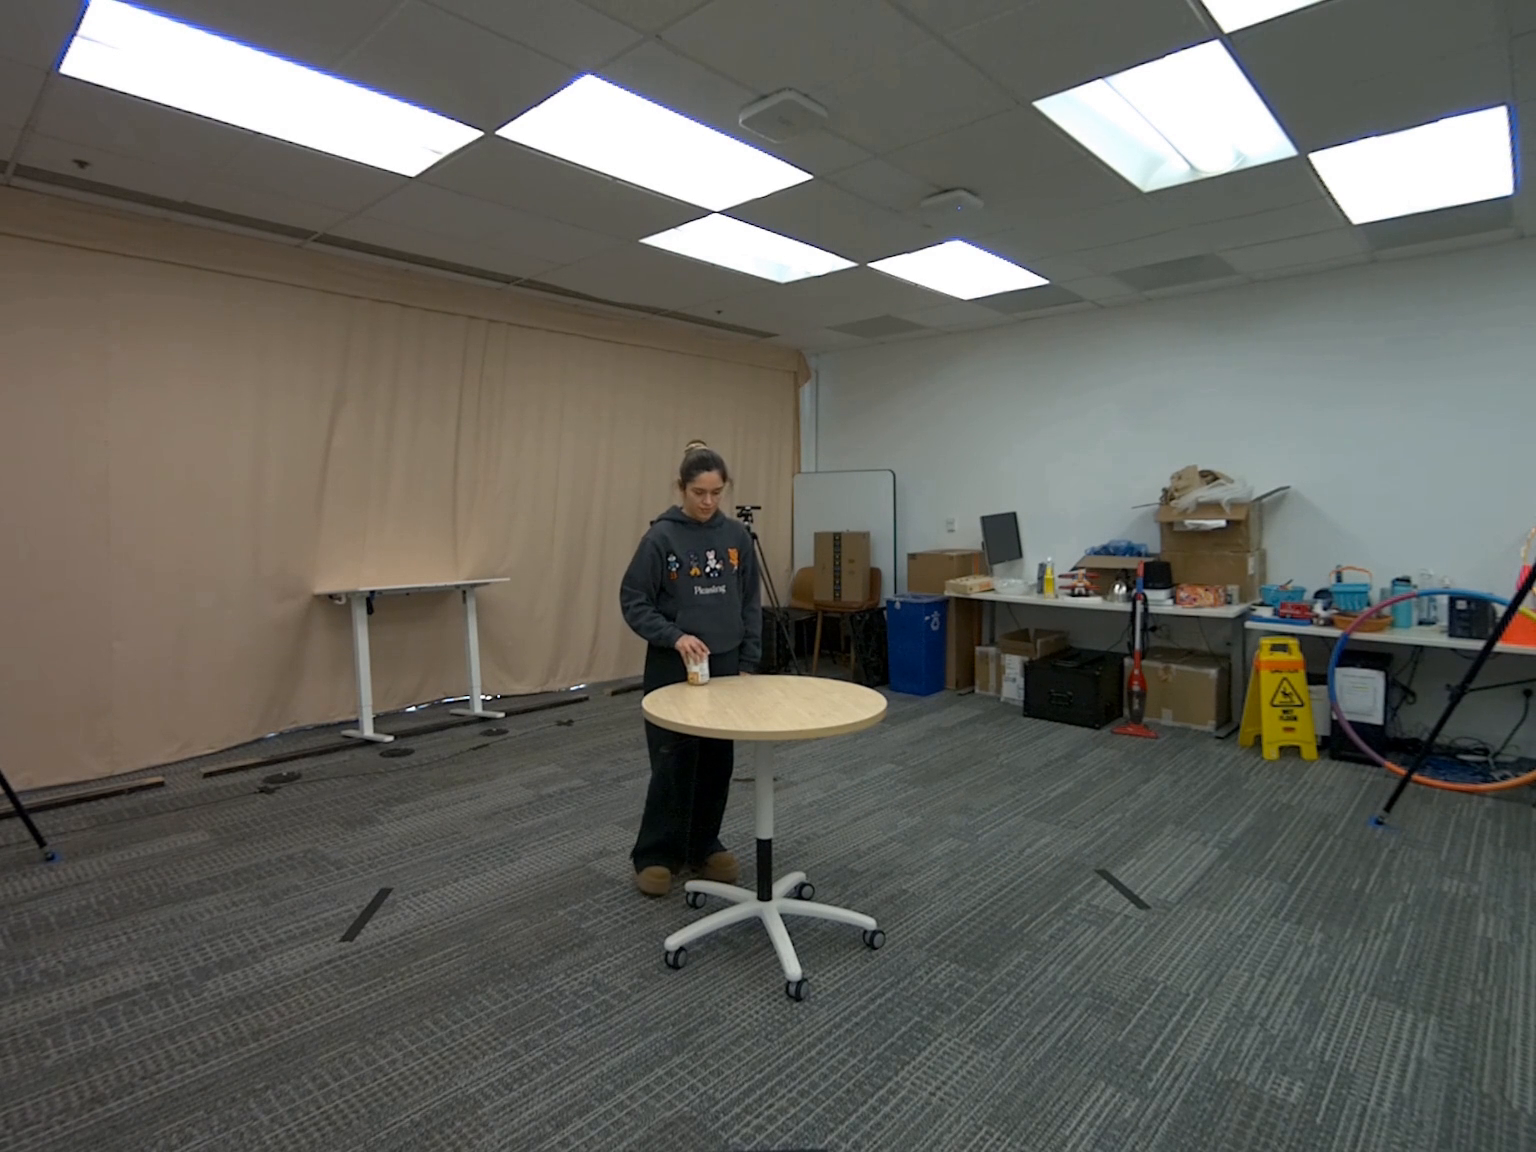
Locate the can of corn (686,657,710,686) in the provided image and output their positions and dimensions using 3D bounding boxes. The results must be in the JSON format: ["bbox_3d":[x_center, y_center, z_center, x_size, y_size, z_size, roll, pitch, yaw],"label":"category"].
[{"bbox_3d":[-0.229,0.303,2.884,0.074,0.110,0.074,-4,6,-1],"label":"can of corn"}]
